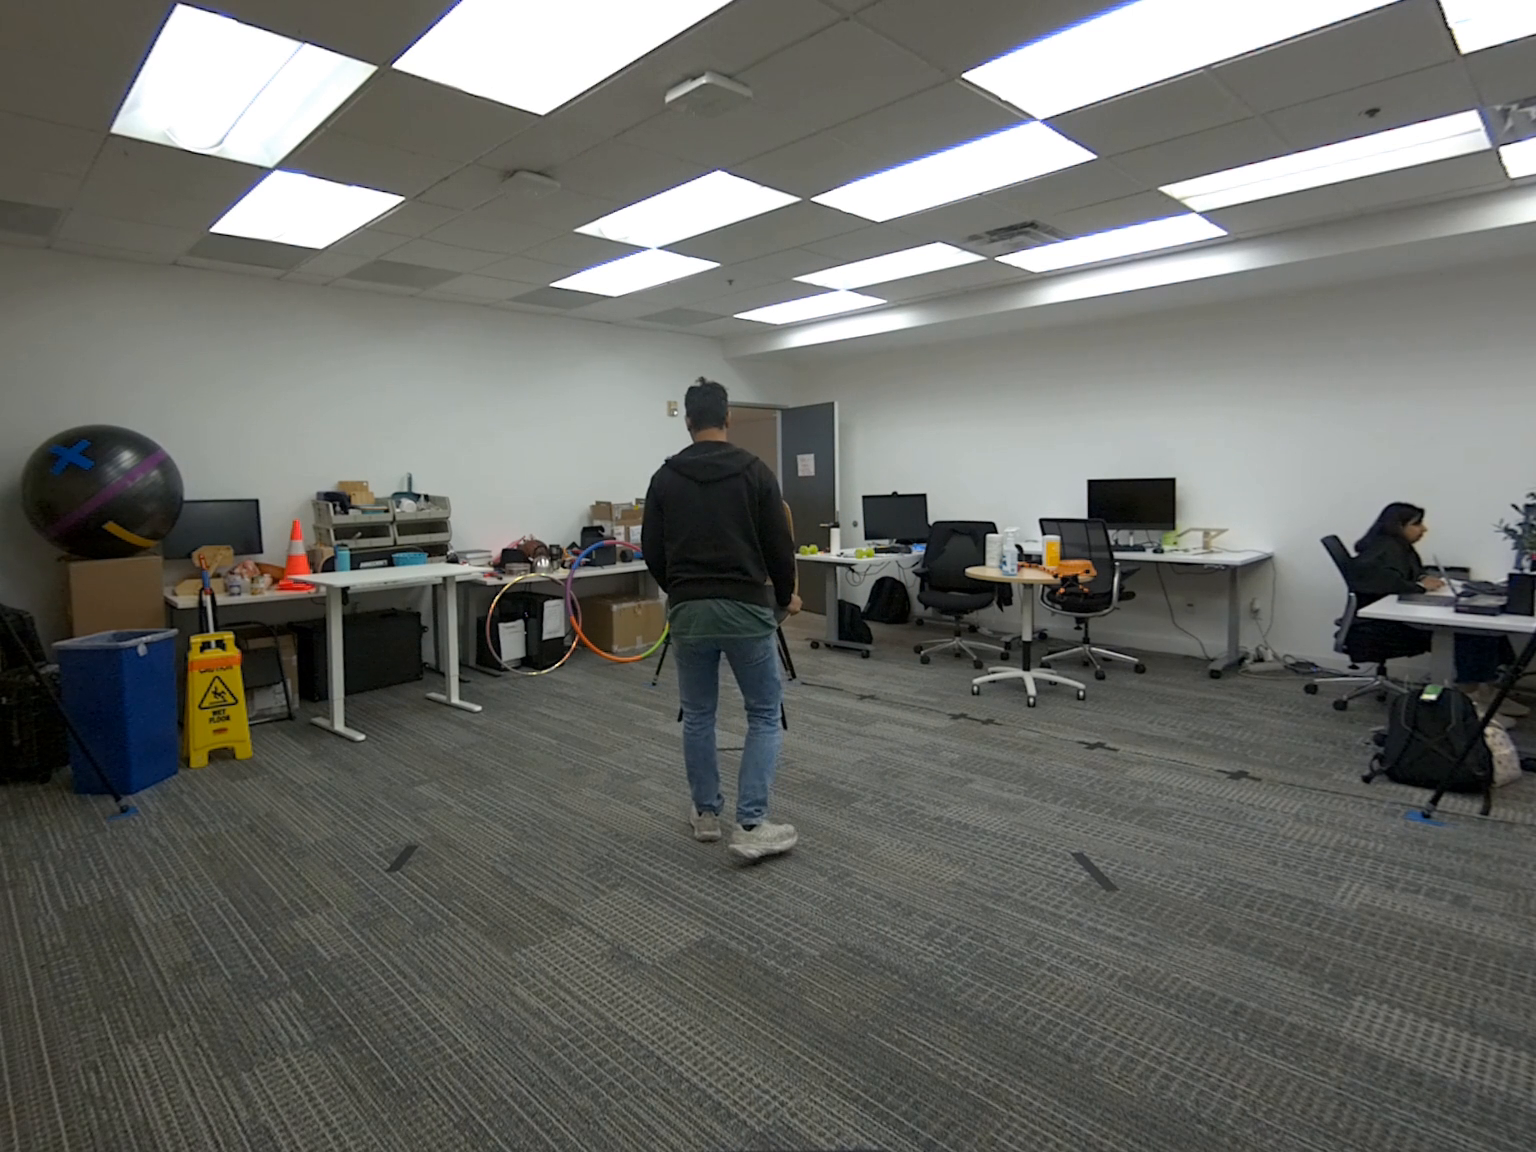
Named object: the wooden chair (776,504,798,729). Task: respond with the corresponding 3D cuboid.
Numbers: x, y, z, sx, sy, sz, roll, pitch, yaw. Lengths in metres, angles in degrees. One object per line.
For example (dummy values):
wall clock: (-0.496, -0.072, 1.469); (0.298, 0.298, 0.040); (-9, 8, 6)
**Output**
wooden chair: (-0.123, 0.141, 3.557); (0.483, 0.866, 0.525); (3, 15, 8)
